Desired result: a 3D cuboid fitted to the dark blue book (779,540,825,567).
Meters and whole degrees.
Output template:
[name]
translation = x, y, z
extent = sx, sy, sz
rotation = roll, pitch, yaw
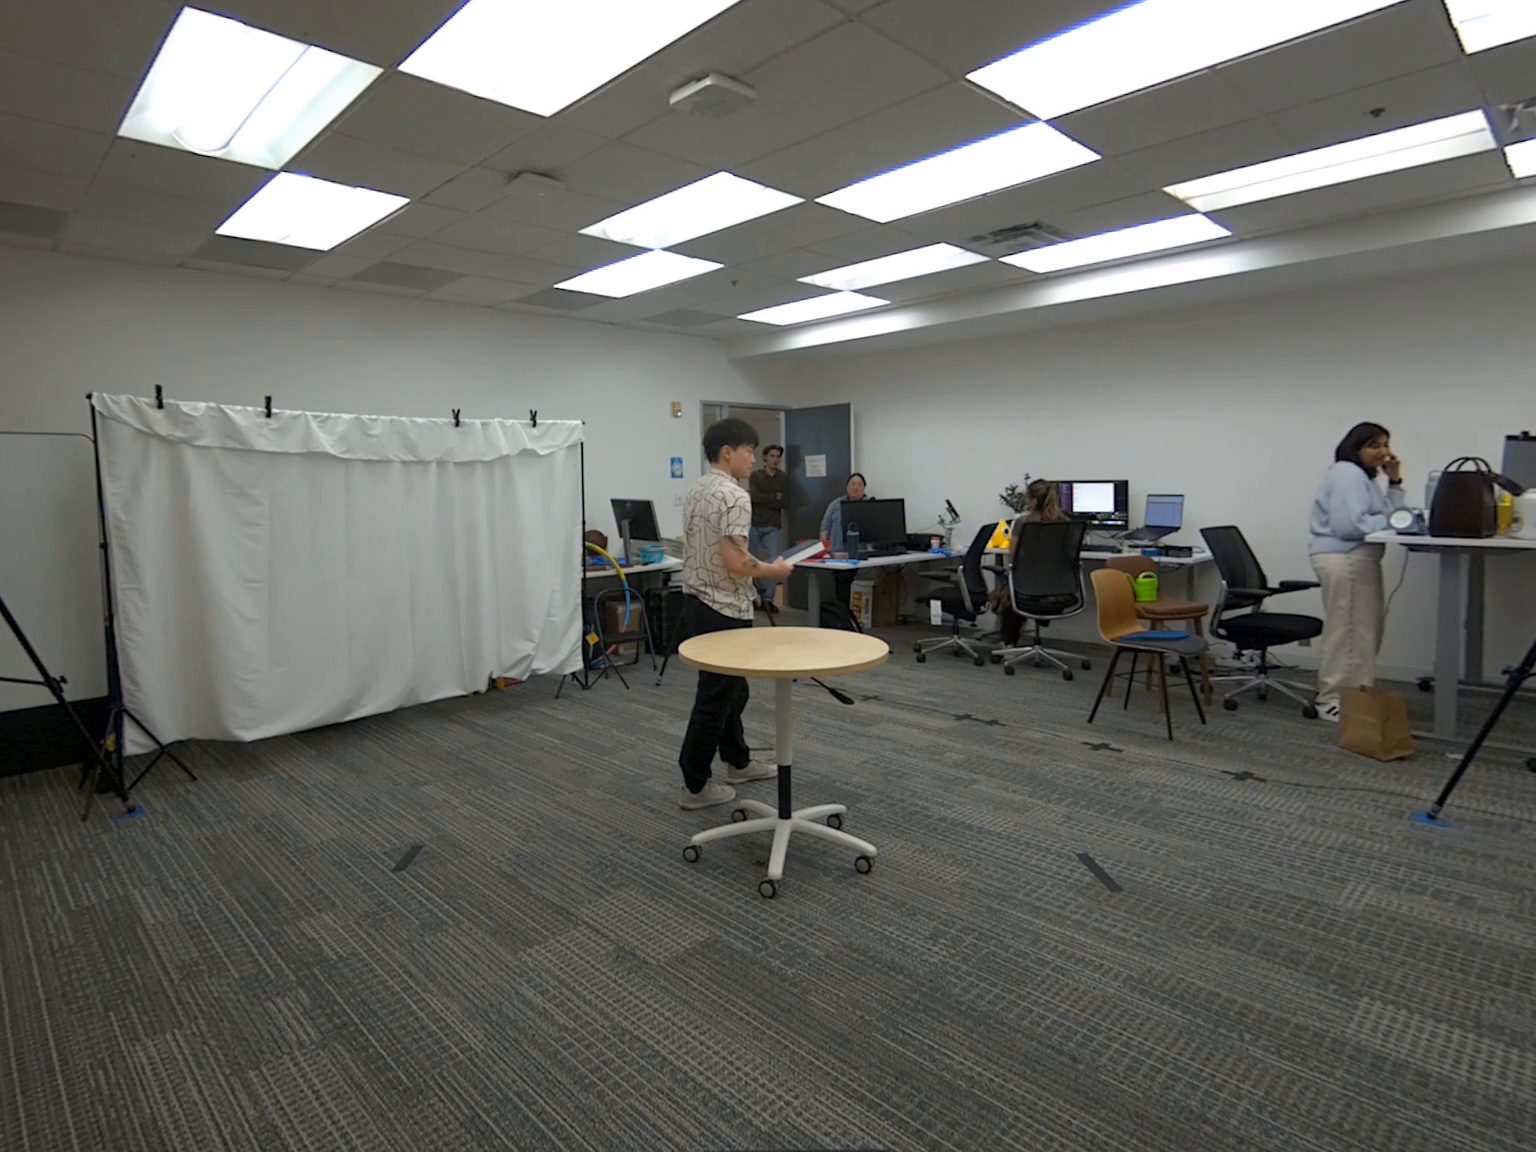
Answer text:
[dark blue book]
translation = 0.121, -0.092, 3.772
extent = 0.243, 0.045, 0.166
rotation = -25, 11, -15
